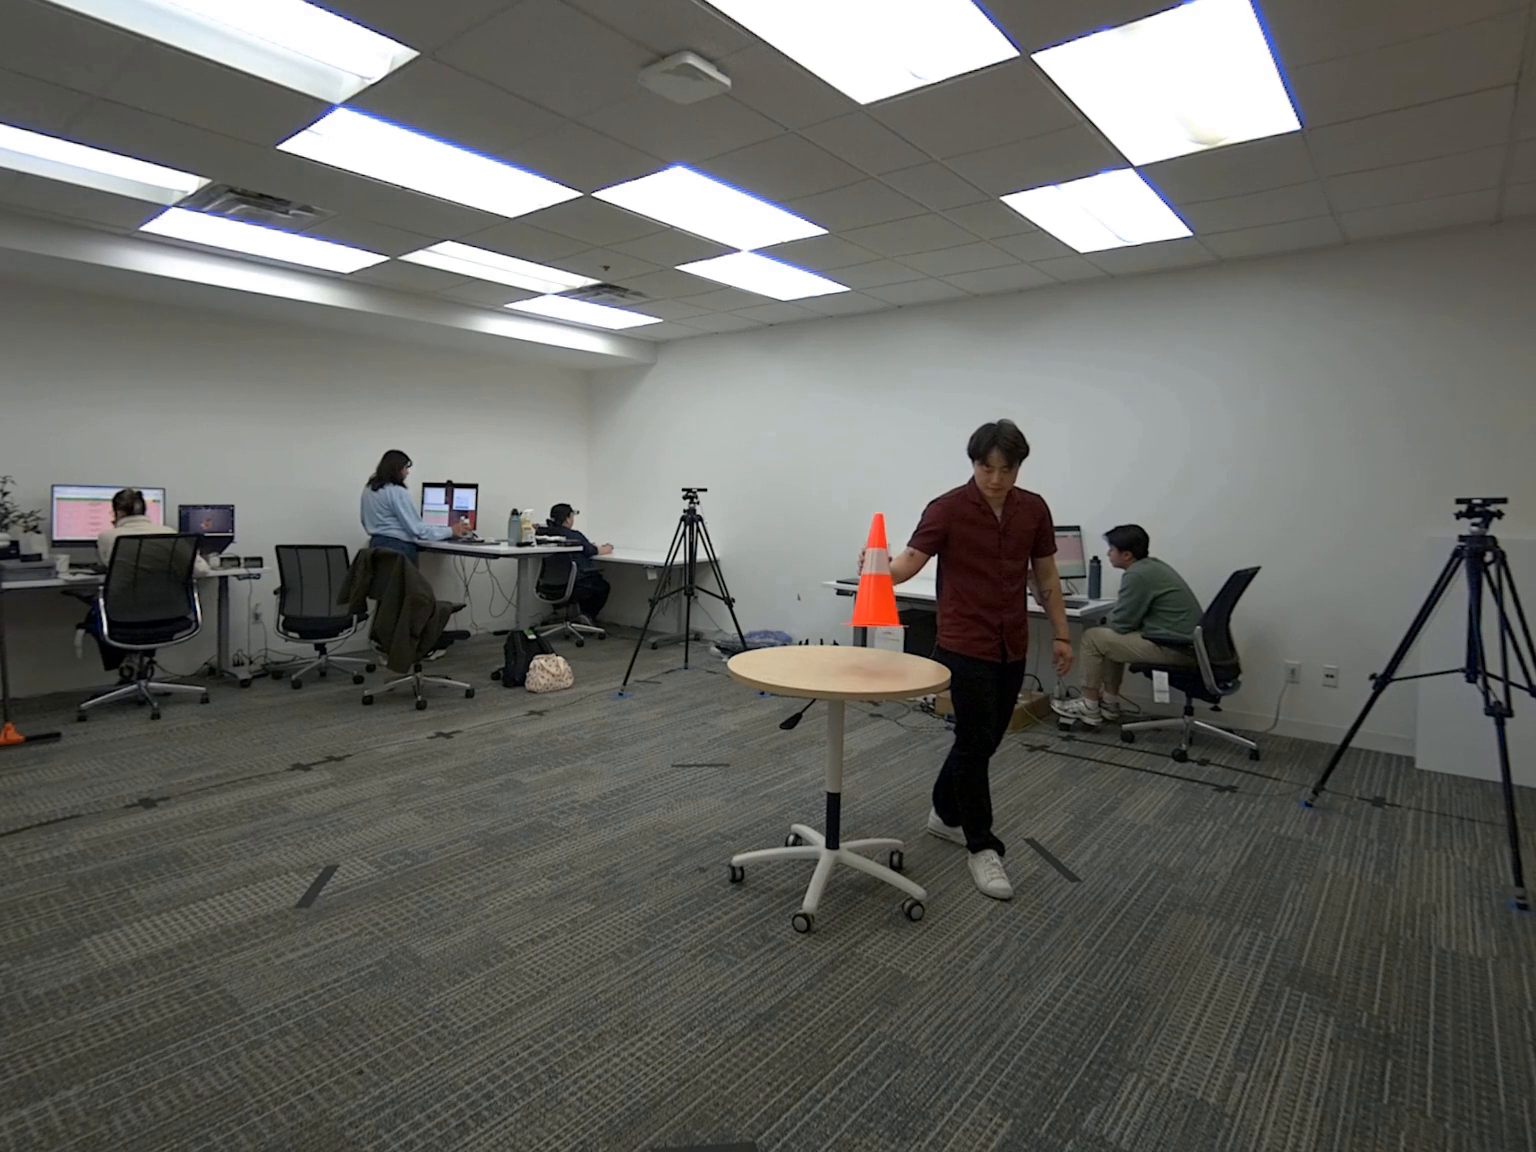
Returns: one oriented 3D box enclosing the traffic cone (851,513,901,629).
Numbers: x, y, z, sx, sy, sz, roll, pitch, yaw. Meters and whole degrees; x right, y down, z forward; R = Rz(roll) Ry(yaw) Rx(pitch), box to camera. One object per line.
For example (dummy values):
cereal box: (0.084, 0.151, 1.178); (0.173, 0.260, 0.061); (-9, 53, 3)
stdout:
traffic cone: (0.371, -0.023, 2.878); (0.209, 0.386, 0.198); (0, -6, 19)
